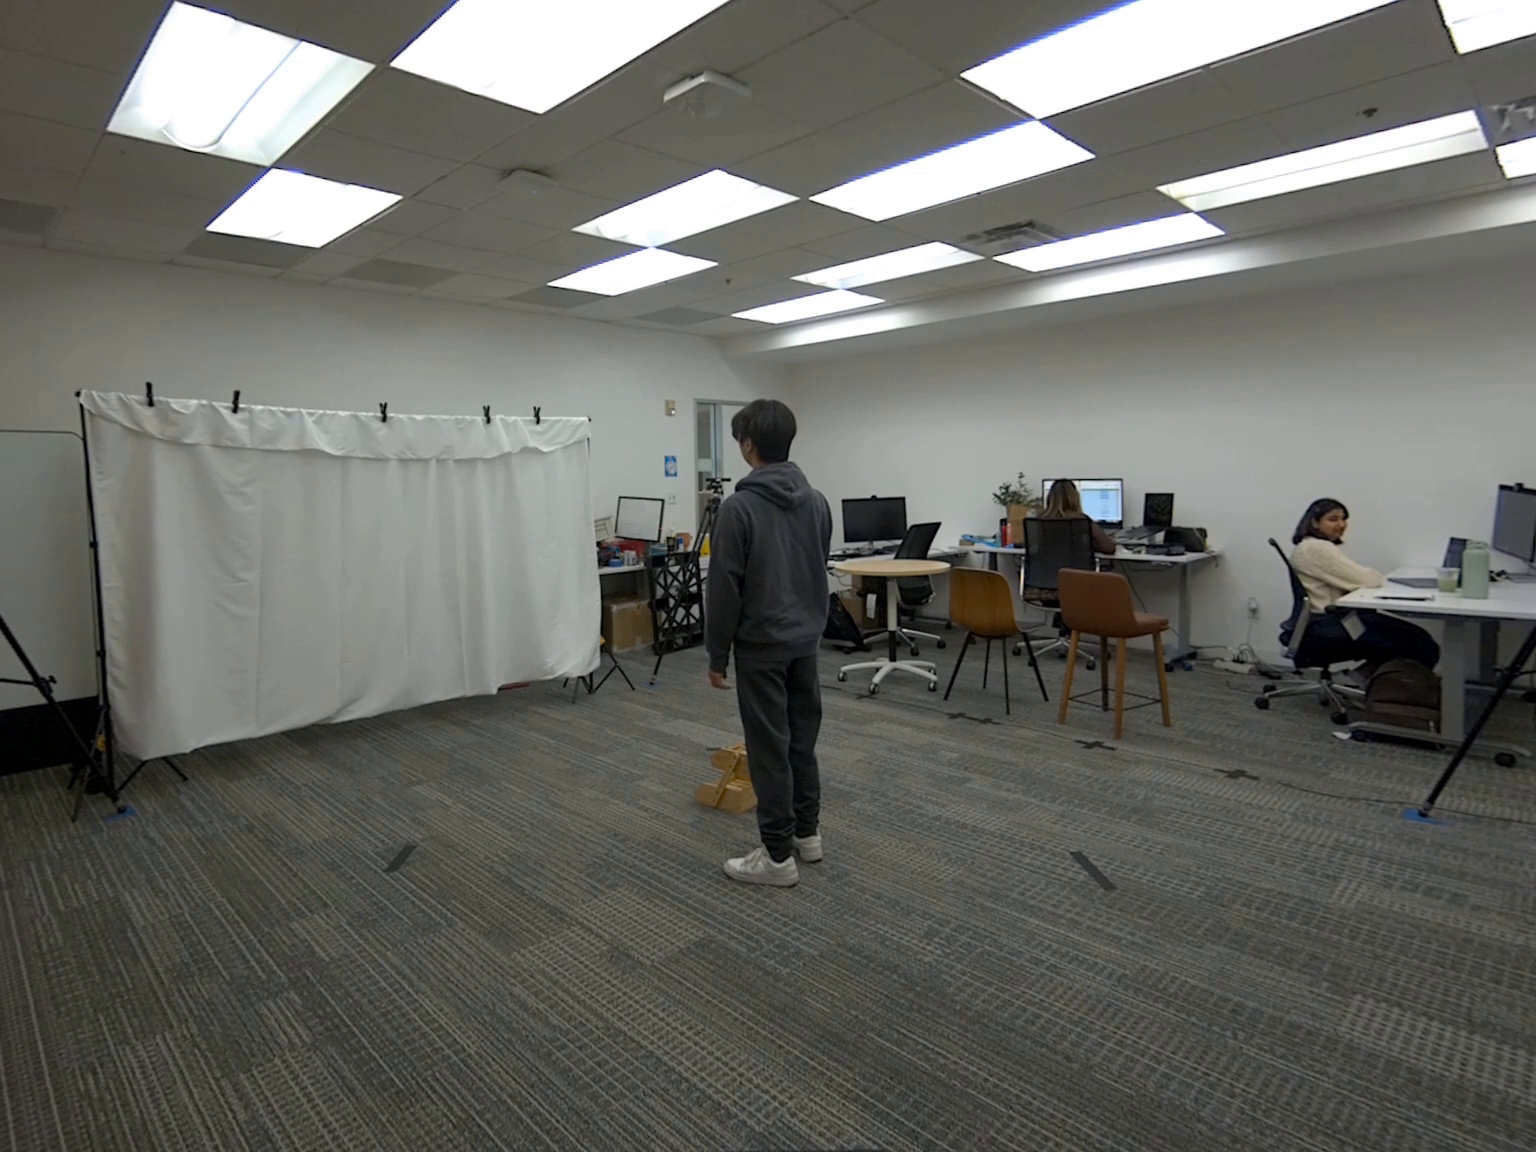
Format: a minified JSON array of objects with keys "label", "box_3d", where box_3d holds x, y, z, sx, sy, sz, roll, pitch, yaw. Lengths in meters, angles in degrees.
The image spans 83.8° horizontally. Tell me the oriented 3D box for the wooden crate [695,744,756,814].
[{"label":"wooden crate","box_3d":[-0.119,0.842,3.740,0.311,0.272,0.316,3,7,35]}]
